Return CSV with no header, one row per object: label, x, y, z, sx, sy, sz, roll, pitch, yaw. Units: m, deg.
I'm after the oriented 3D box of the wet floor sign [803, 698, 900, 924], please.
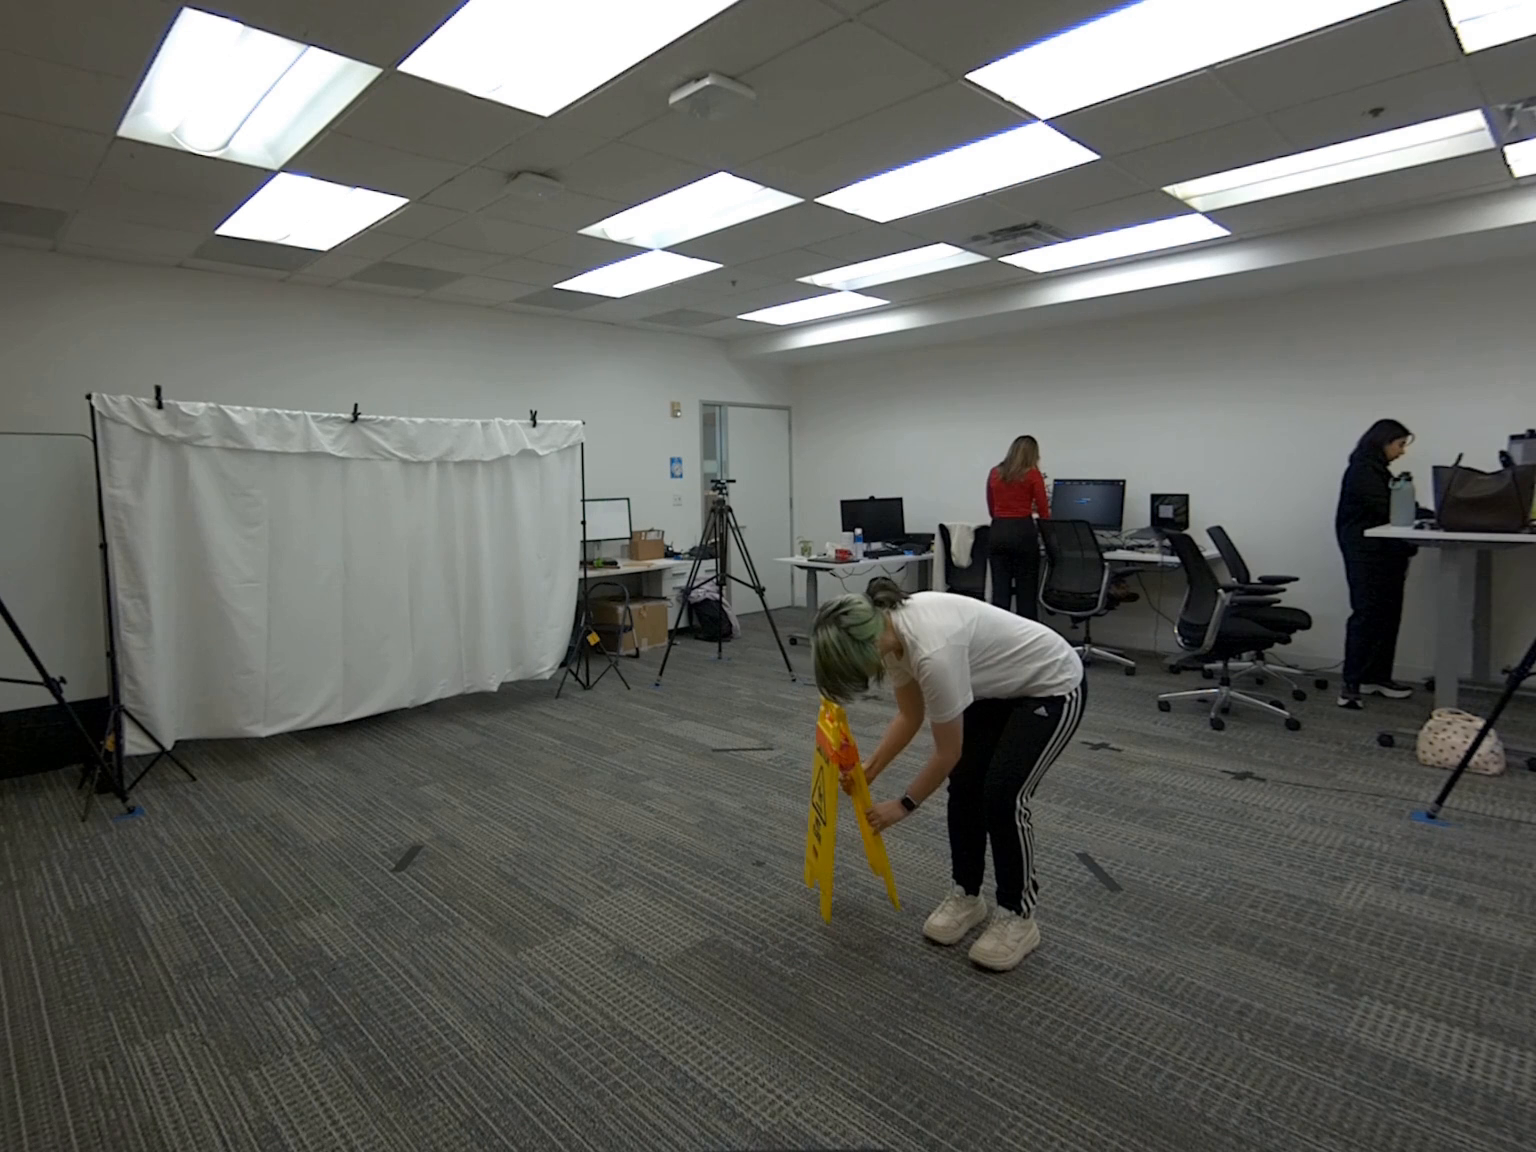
wet floor sign,0.233,0.688,2.656,0.288,0.643,0.285,-7,5,-8
